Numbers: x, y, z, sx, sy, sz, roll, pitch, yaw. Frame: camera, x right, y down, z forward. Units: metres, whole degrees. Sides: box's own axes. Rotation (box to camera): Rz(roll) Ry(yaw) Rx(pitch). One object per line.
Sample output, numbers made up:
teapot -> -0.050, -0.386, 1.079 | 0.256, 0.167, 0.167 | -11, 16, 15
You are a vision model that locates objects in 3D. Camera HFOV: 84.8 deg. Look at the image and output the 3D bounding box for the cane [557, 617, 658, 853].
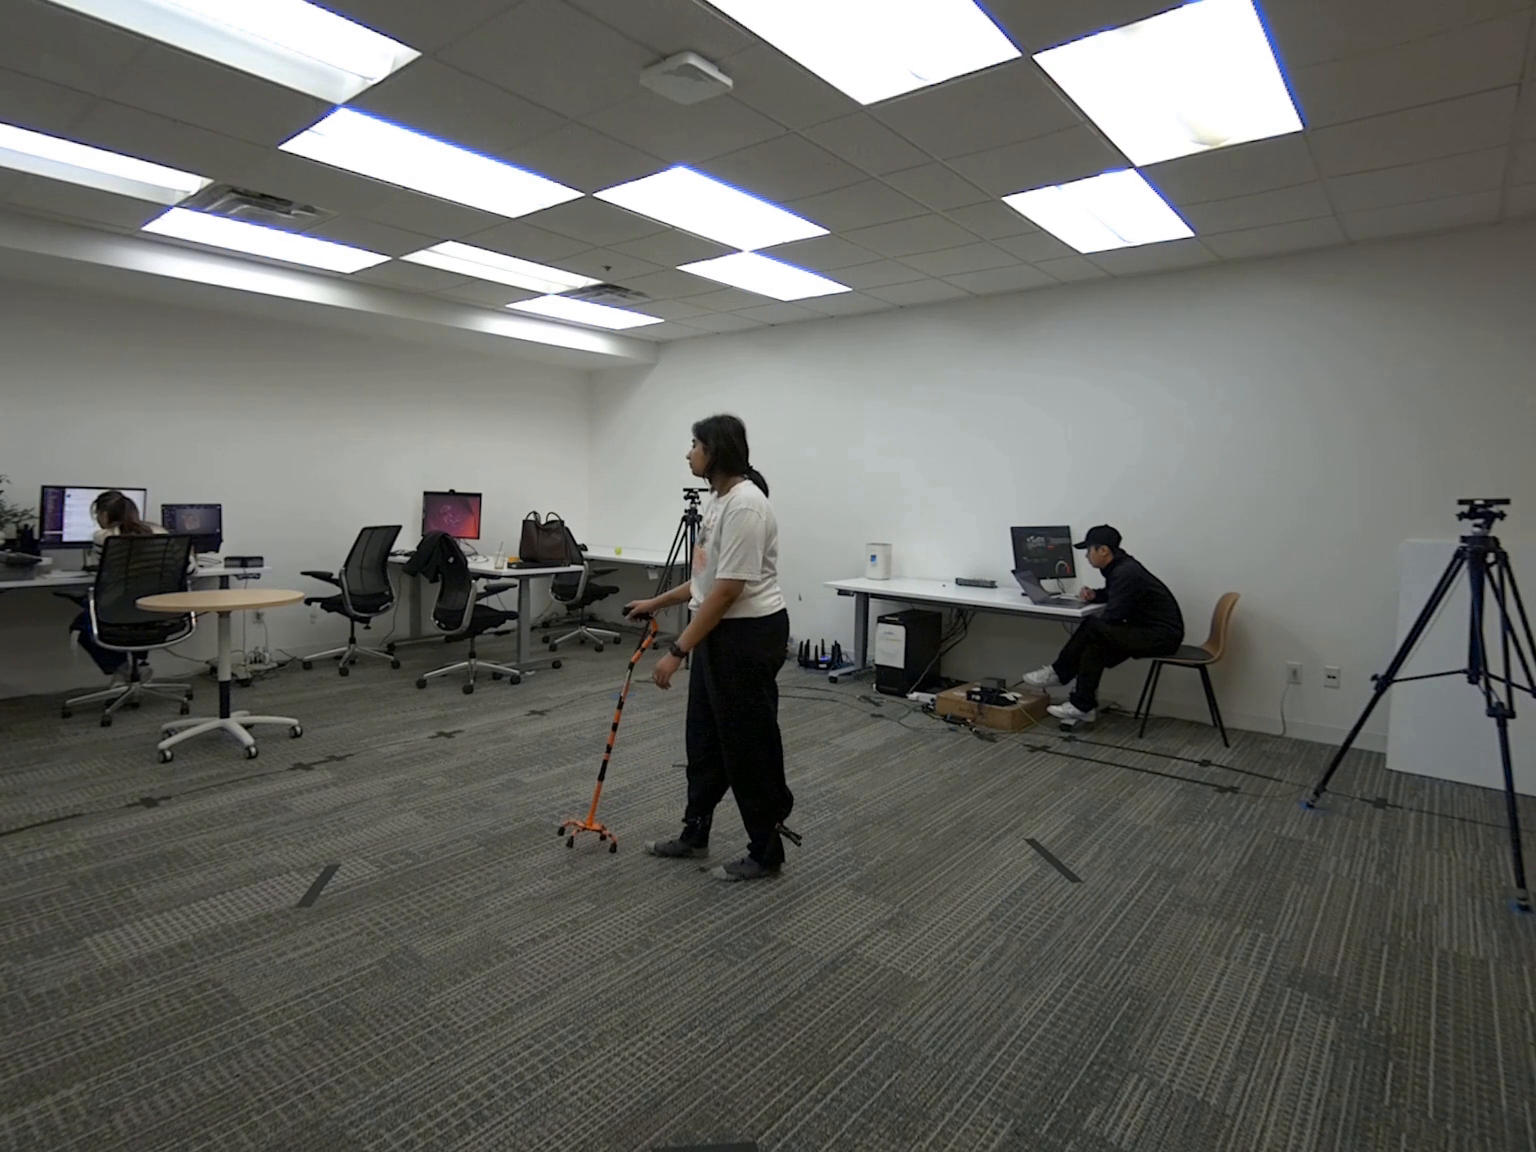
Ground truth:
cane -> -0.606, 0.586, 3.292 | 0.200, 0.910, 0.156 | 15, -3, -29
